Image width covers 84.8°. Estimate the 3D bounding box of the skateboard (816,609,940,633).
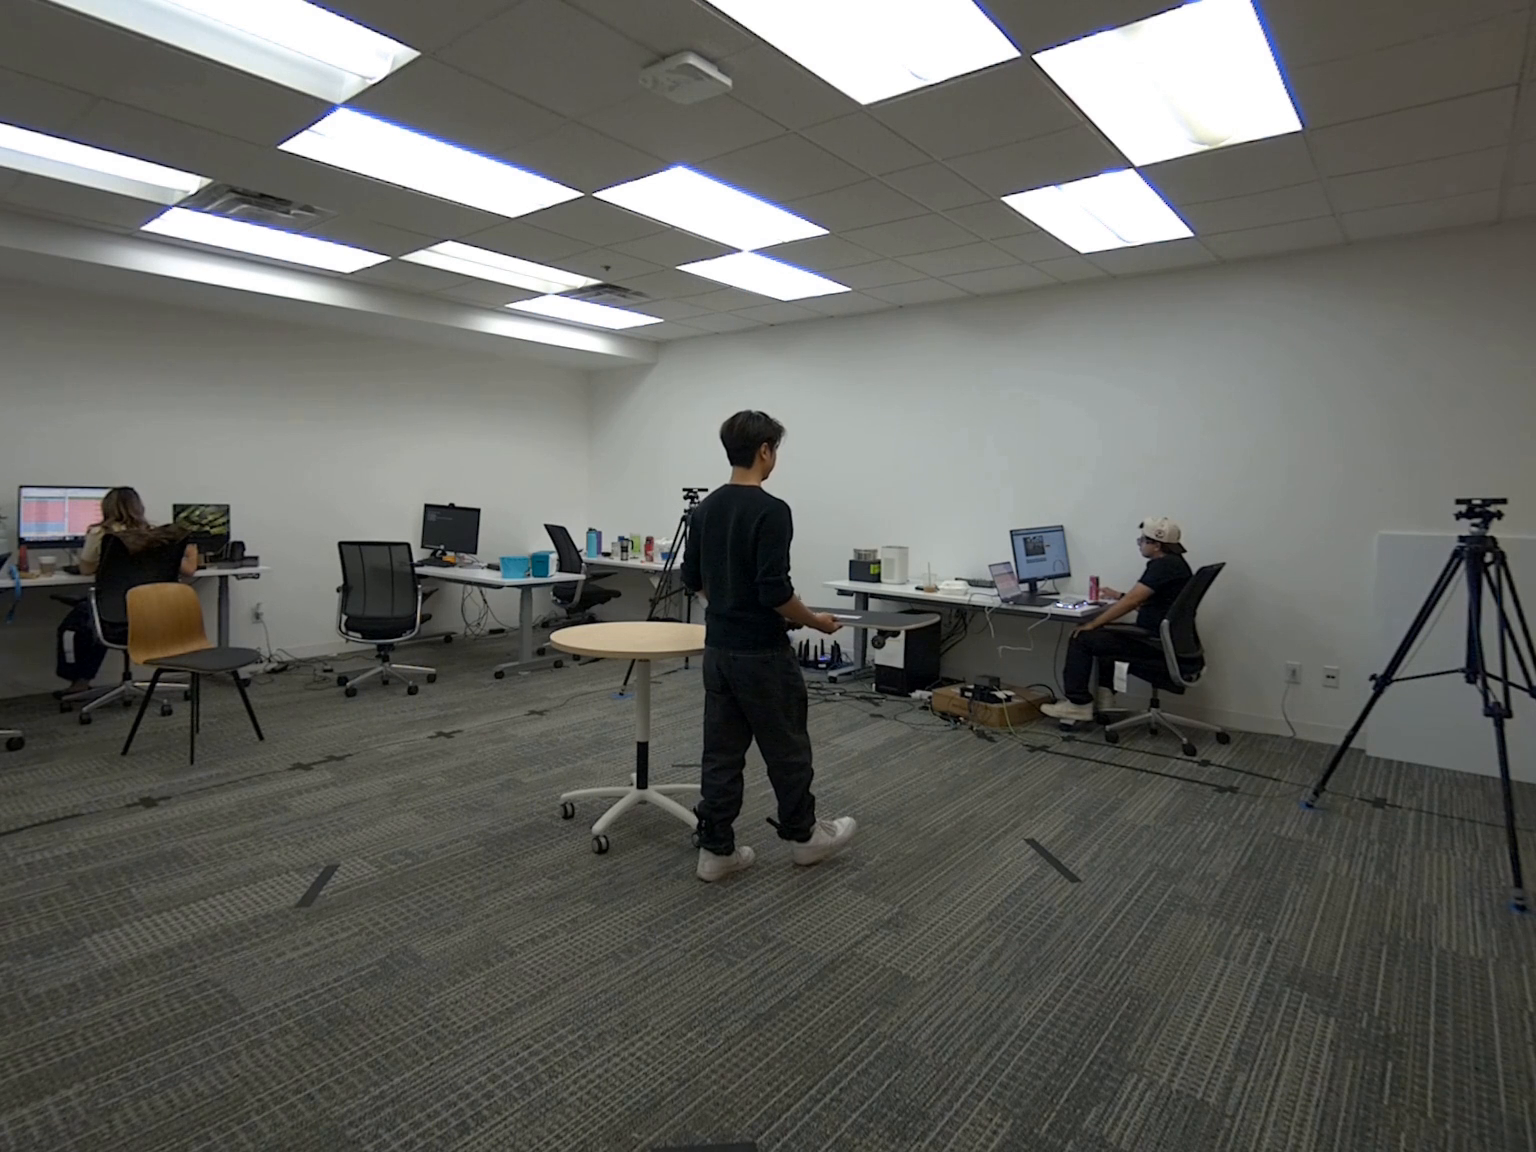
[{"bbox_3d":[0.256,0.185,3.197,0.809,0.109,0.190,2,13,31],"label":"skateboard"}]
